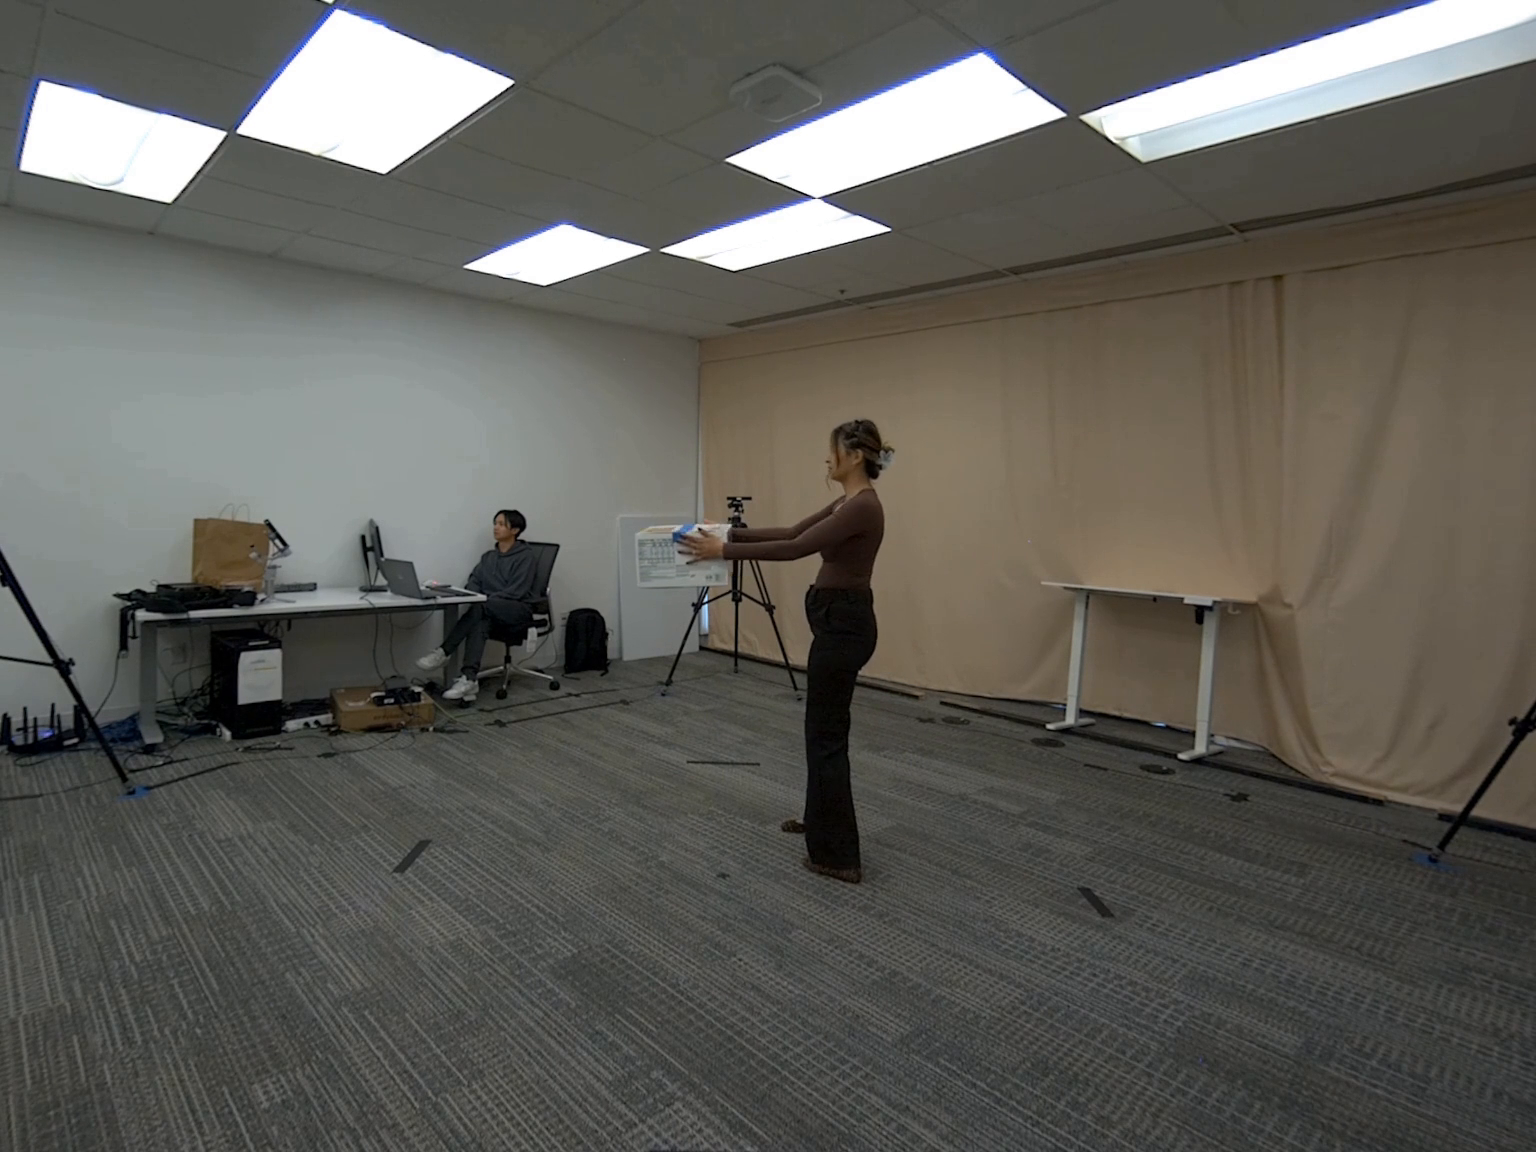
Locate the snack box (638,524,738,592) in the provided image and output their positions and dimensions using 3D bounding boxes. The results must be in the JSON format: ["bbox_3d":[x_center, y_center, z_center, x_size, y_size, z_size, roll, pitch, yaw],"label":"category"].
[{"bbox_3d":[-0.300,-0.080,3.285,0.341,0.205,0.406,-2,7,1],"label":"snack box"}]
